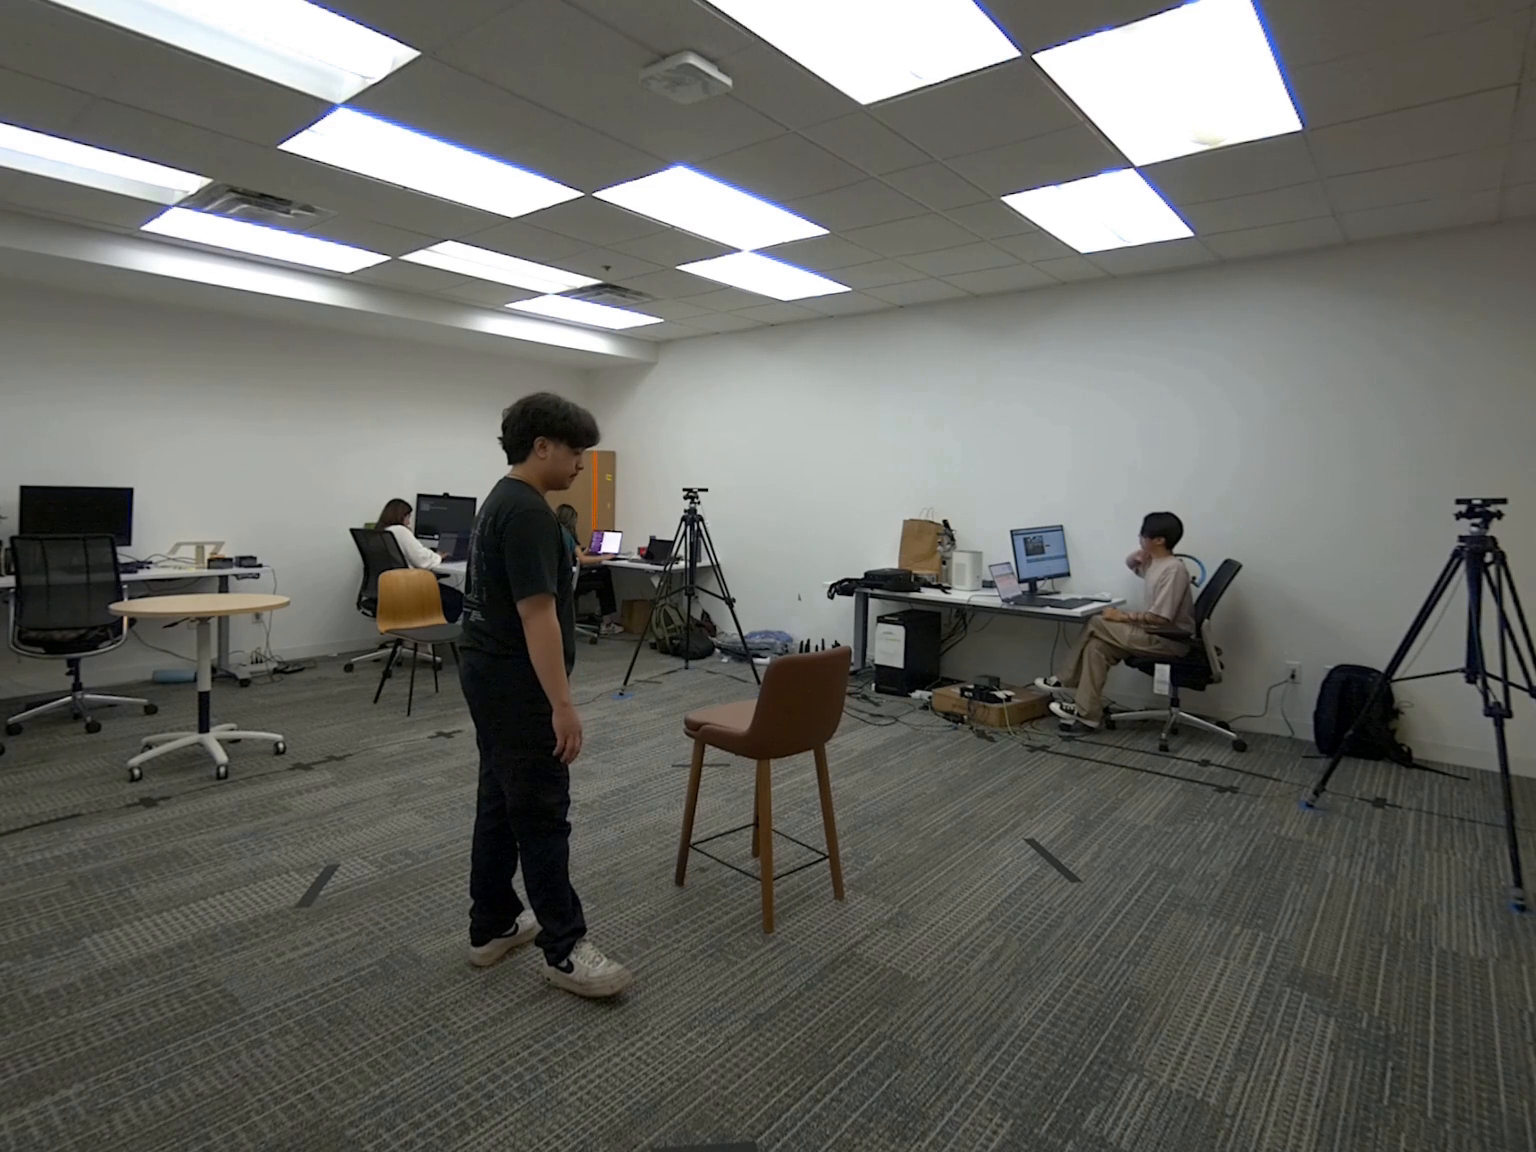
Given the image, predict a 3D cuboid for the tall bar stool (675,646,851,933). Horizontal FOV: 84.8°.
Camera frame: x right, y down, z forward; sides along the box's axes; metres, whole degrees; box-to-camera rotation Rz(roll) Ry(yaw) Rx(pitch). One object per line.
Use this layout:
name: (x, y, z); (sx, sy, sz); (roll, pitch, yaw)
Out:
tall bar stool: (-0.018, 0.656, 2.929); (0.442, 0.887, 0.484); (-1, 6, -44)
